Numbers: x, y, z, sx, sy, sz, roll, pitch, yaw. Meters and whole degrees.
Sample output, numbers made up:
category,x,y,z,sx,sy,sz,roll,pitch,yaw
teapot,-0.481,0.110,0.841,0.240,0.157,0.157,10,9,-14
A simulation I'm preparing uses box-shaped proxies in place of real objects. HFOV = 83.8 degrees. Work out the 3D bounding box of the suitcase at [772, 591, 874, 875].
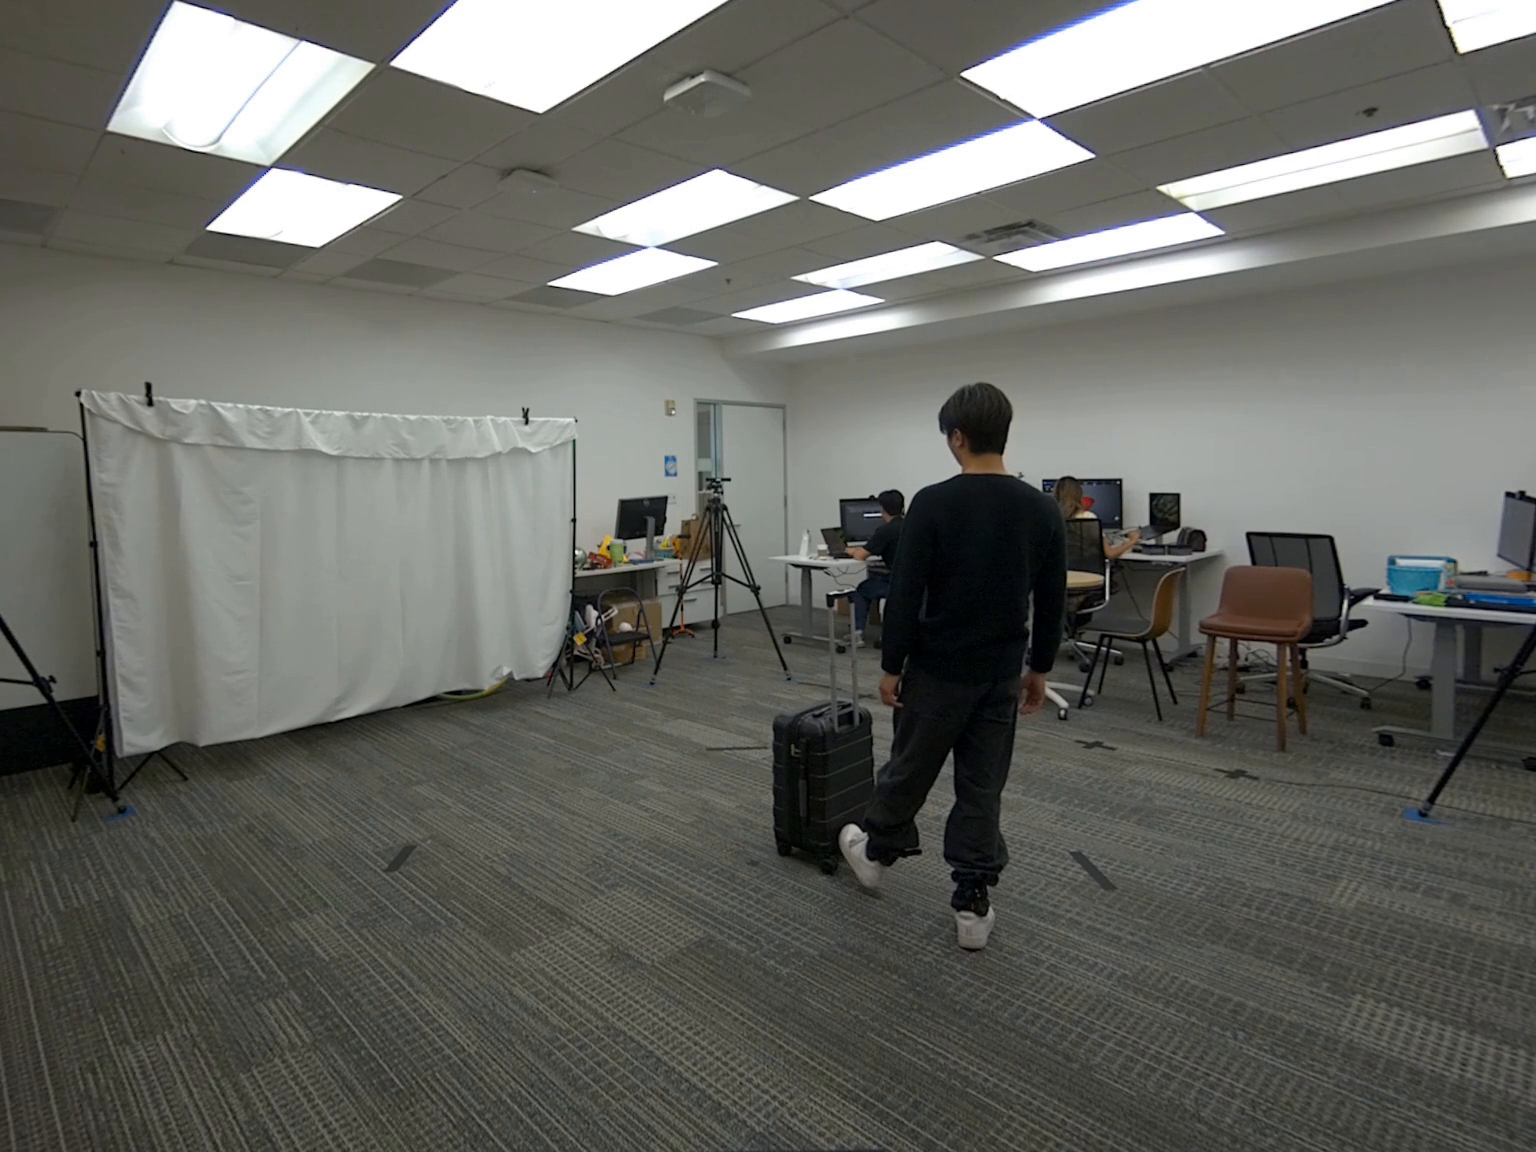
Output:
category,x,y,z,sx,sy,sz,roll,pitch,yaw
suitcase,0.207,0.551,3.179,0.264,0.977,0.374,-1,3,44
